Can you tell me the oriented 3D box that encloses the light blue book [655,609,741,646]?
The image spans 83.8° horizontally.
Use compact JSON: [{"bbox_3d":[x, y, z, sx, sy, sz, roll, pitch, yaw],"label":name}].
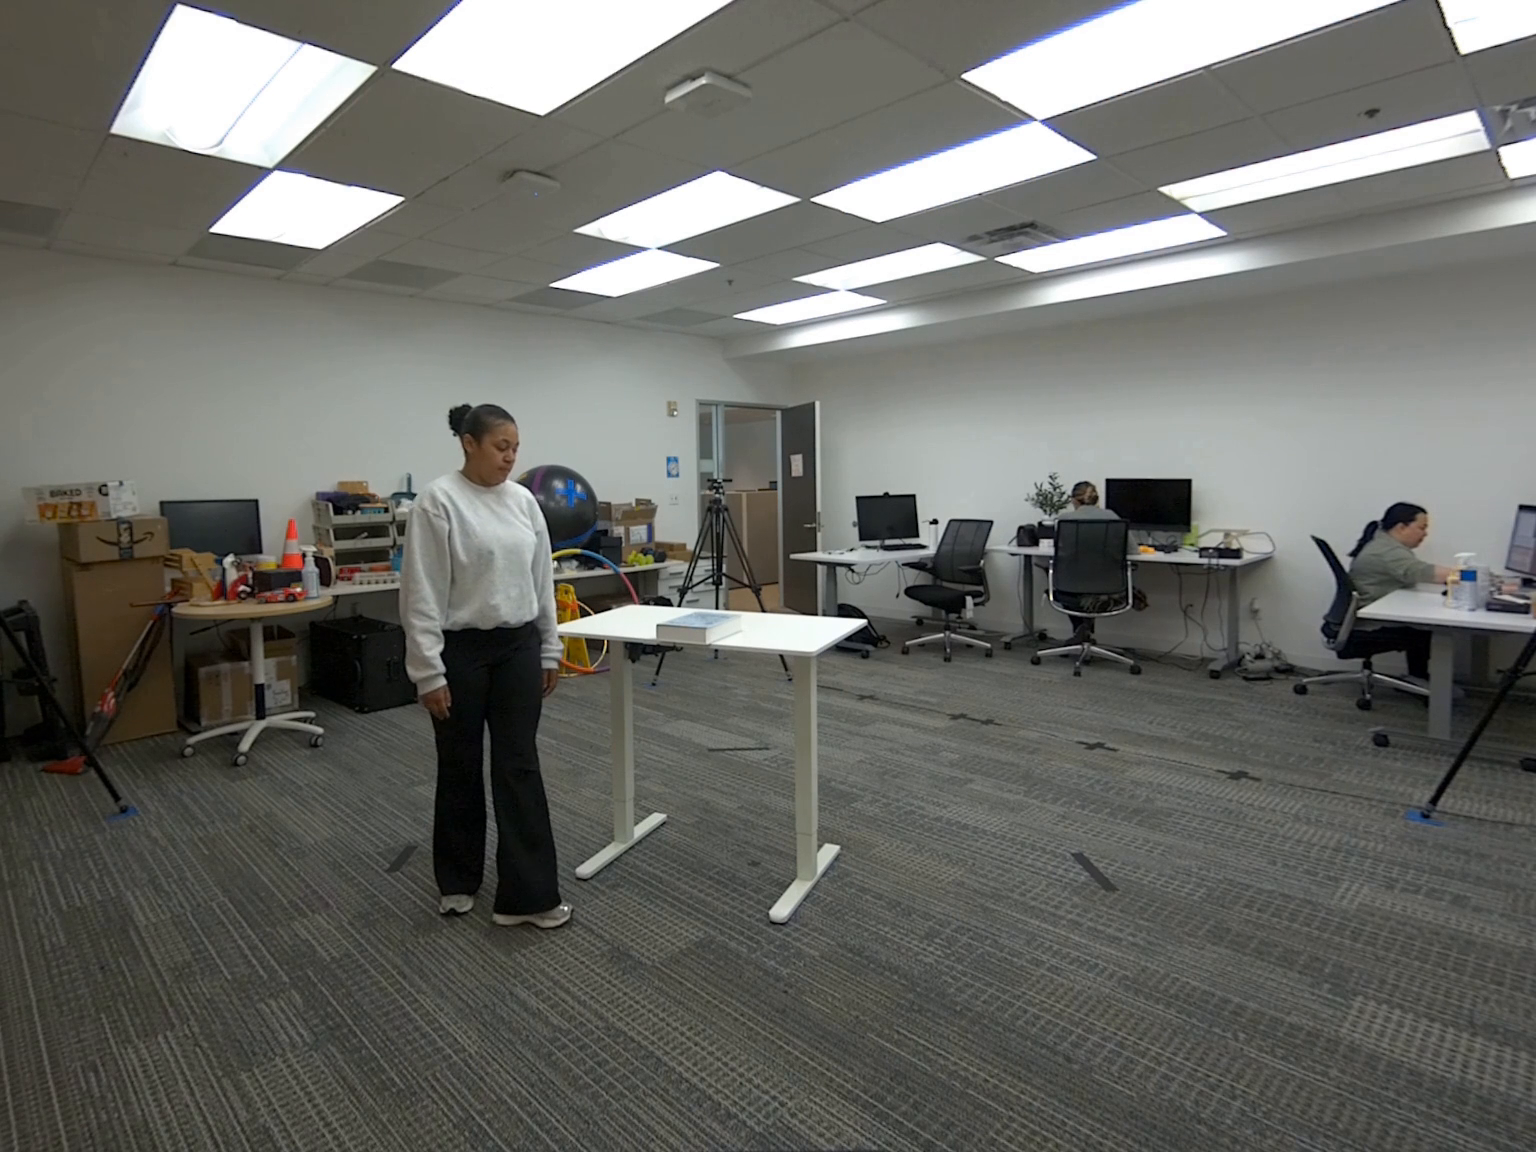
[{"bbox_3d":[-0.220,0.169,2.832,0.196,0.059,0.256,3,8,26],"label":"light blue book"}]
